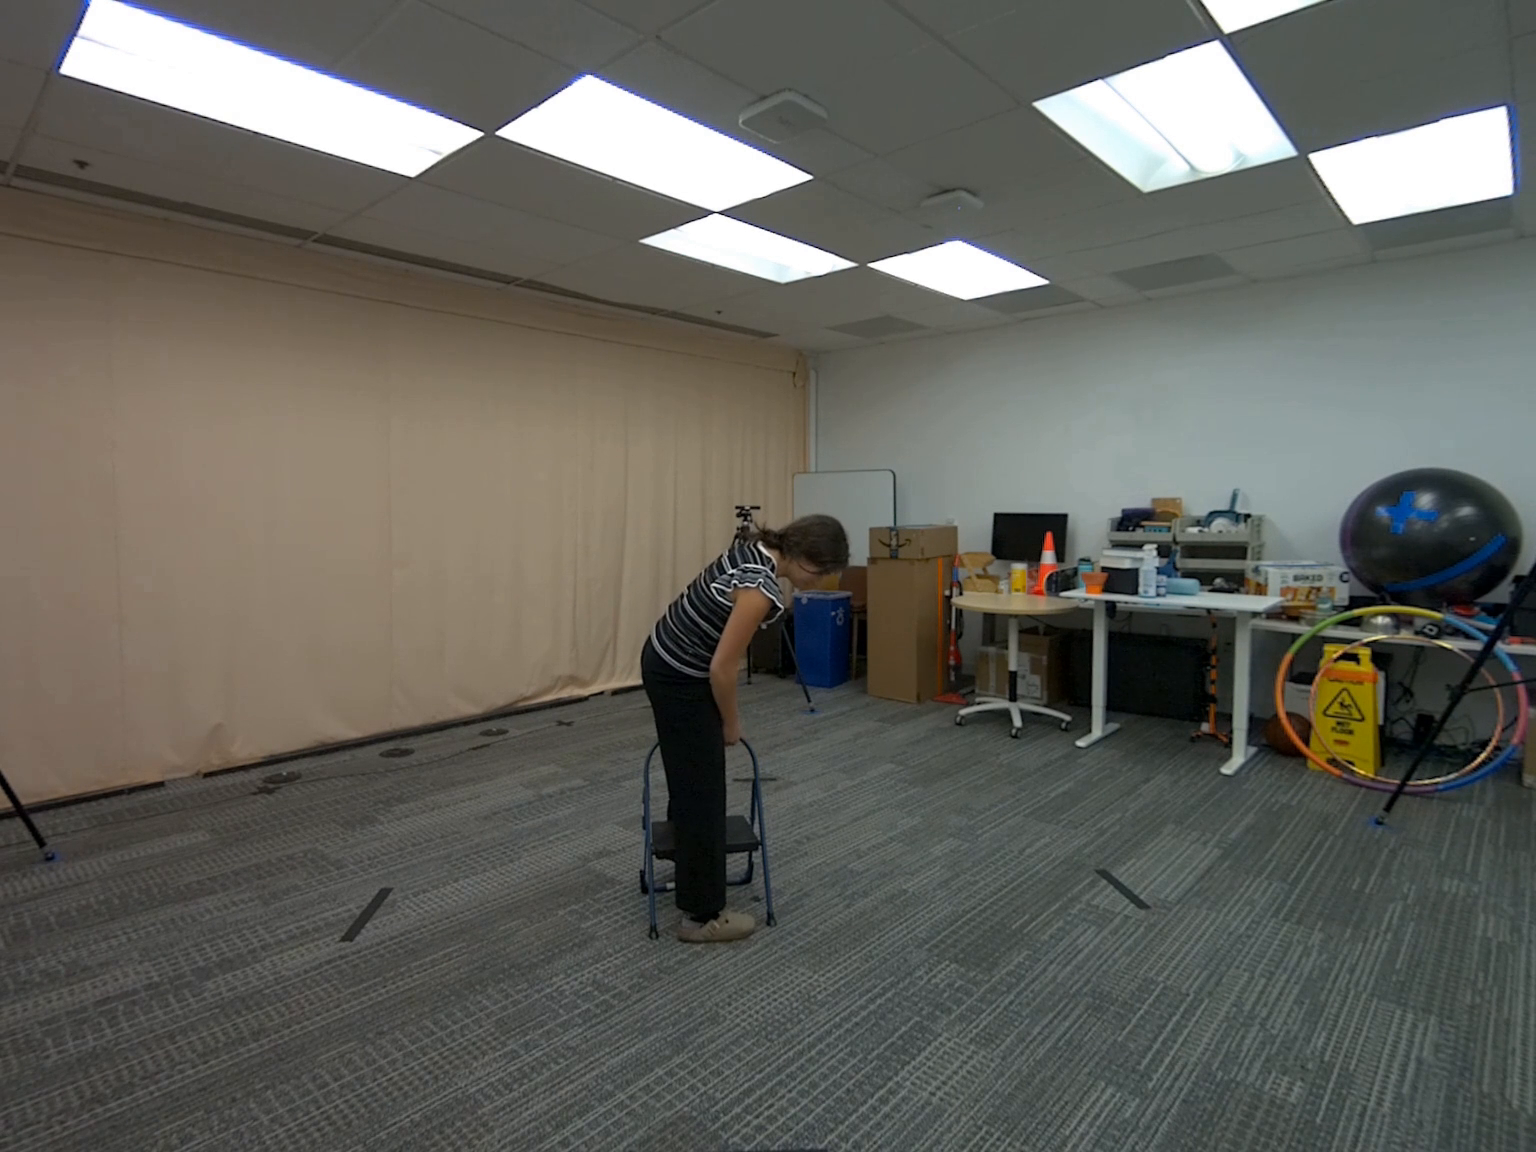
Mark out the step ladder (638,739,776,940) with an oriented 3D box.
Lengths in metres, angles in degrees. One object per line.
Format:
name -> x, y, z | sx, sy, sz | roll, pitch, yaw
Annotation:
step ladder -> -0.221, 0.853, 2.908 | 0.425, 0.605, 0.354 | -1, 3, -12
